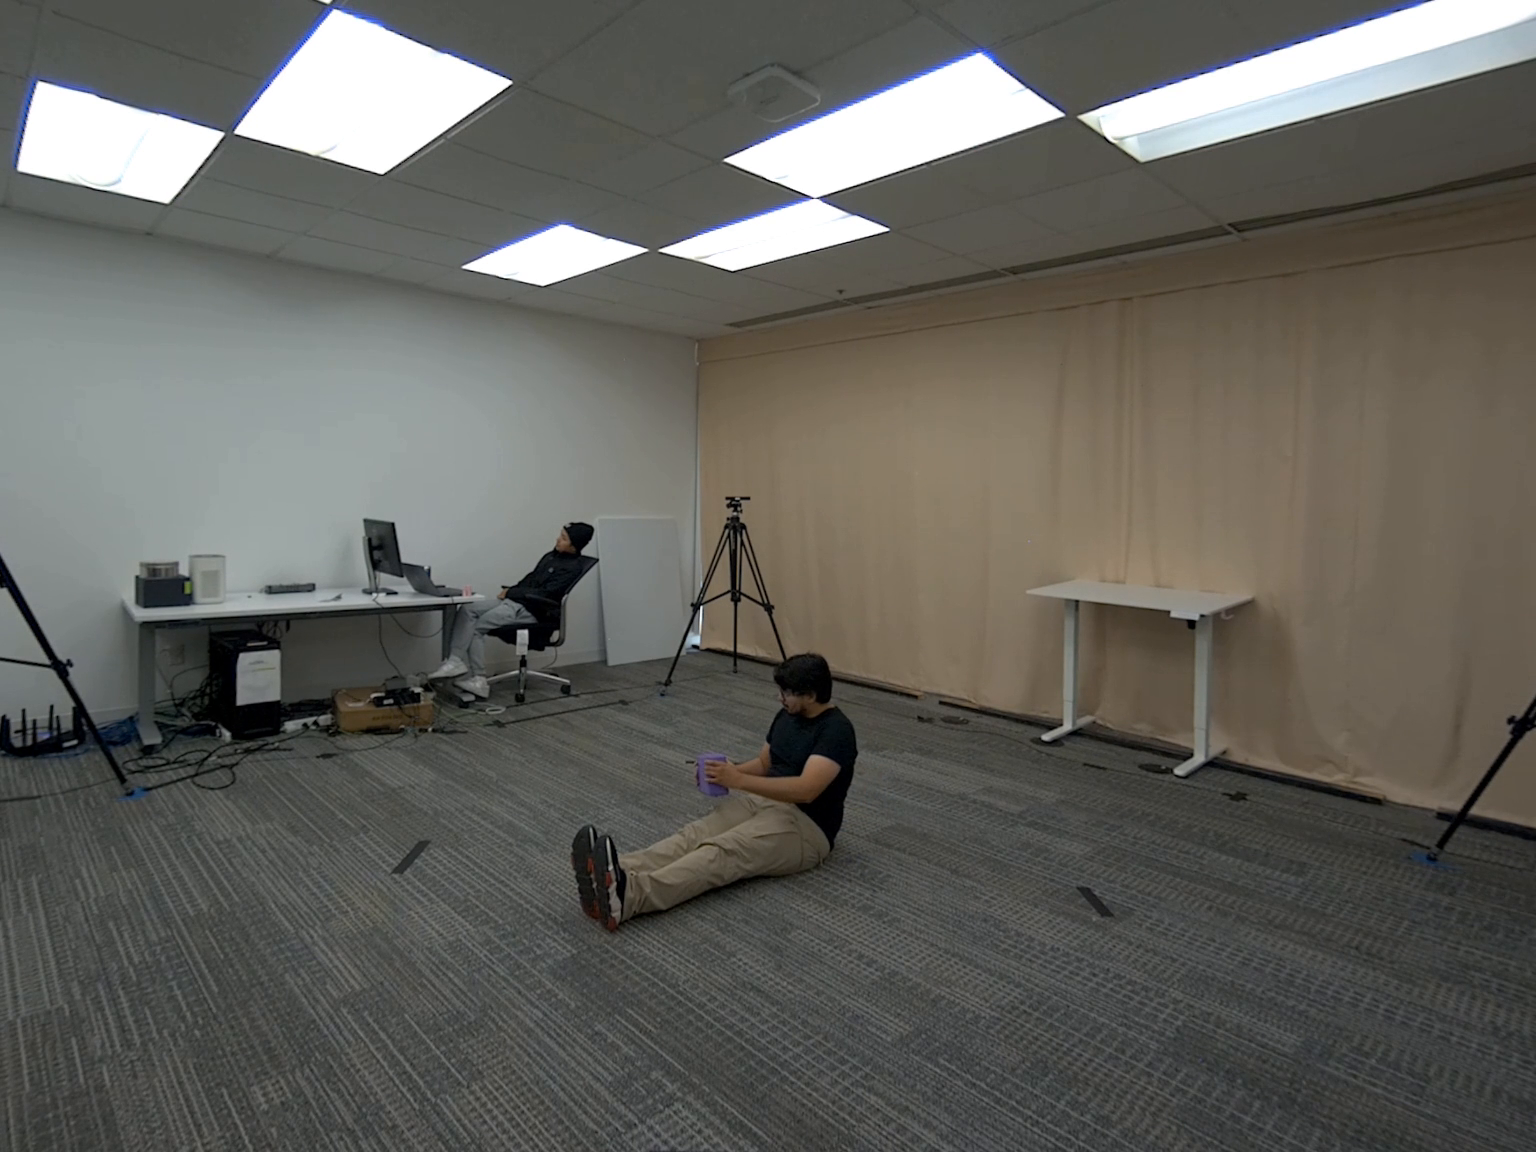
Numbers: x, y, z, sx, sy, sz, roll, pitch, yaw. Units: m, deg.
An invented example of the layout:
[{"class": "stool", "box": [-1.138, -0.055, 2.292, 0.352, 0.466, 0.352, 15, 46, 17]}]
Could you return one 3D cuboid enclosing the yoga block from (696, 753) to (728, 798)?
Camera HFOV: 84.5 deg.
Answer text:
[{"class": "yoga block", "box": [-0.220, 0.771, 3.287, 0.075, 0.150, 0.230, -2, -10, -15]}]
